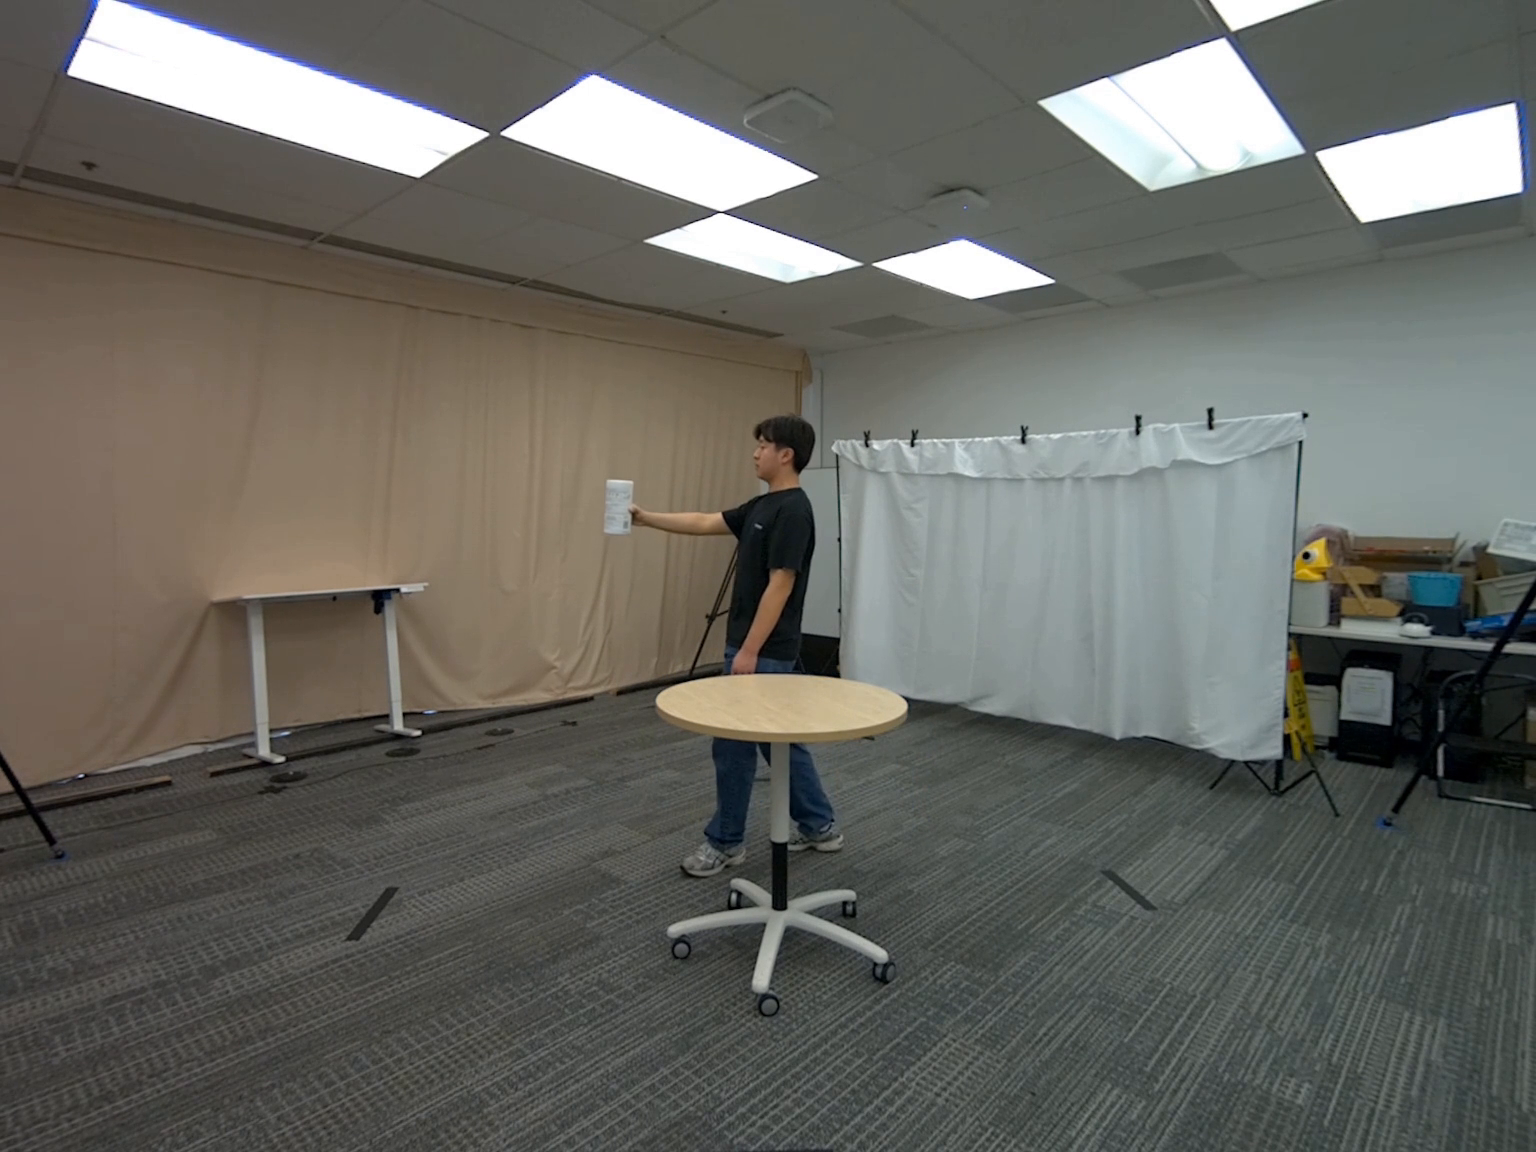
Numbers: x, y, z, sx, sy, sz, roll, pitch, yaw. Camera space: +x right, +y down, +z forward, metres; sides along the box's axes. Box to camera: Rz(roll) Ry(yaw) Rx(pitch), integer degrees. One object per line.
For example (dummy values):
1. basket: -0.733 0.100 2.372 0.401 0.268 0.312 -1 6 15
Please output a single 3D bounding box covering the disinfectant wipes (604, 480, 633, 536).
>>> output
1. disinfectant wipes: -0.593 -0.273 3.355 0.117 0.217 0.118 3 6 -2
